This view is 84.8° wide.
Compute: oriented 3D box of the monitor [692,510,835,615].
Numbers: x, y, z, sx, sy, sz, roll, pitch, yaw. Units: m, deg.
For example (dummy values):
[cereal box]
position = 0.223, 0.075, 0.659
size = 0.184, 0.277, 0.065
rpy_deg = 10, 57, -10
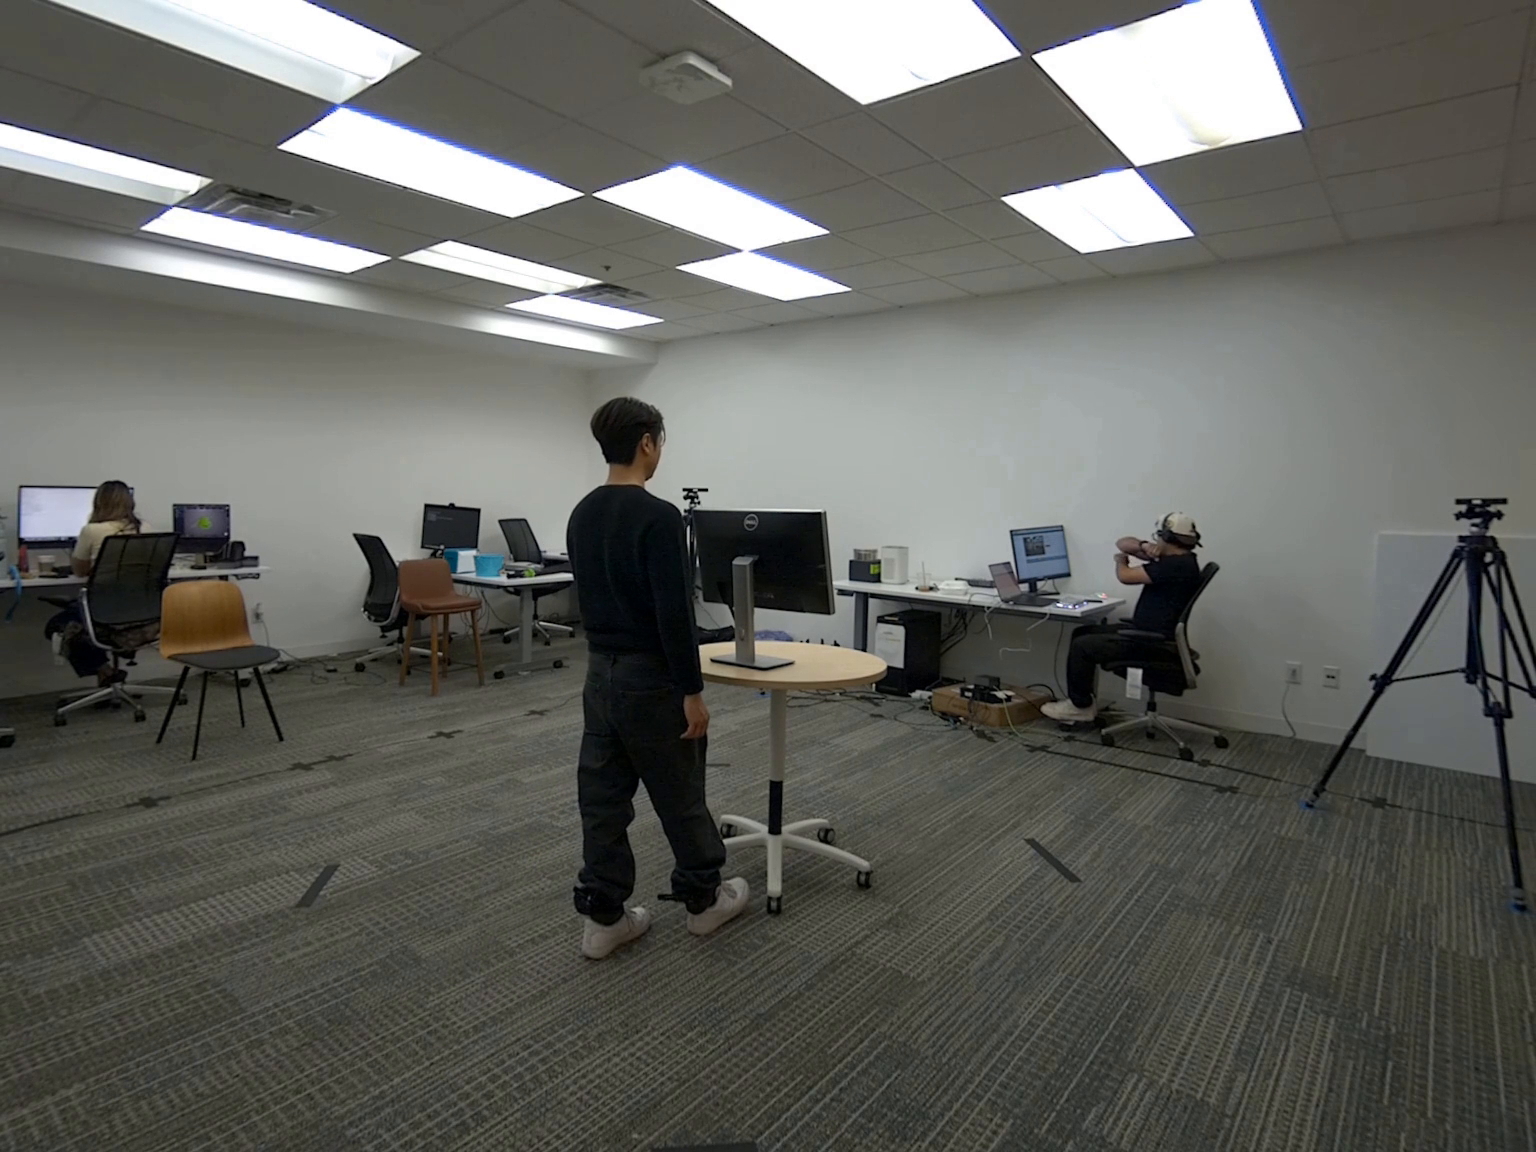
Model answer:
[monitor]
position = -0.061, 0.036, 2.995
size = 0.556, 0.522, 0.181
rpy_deg = 4, 2, 34
